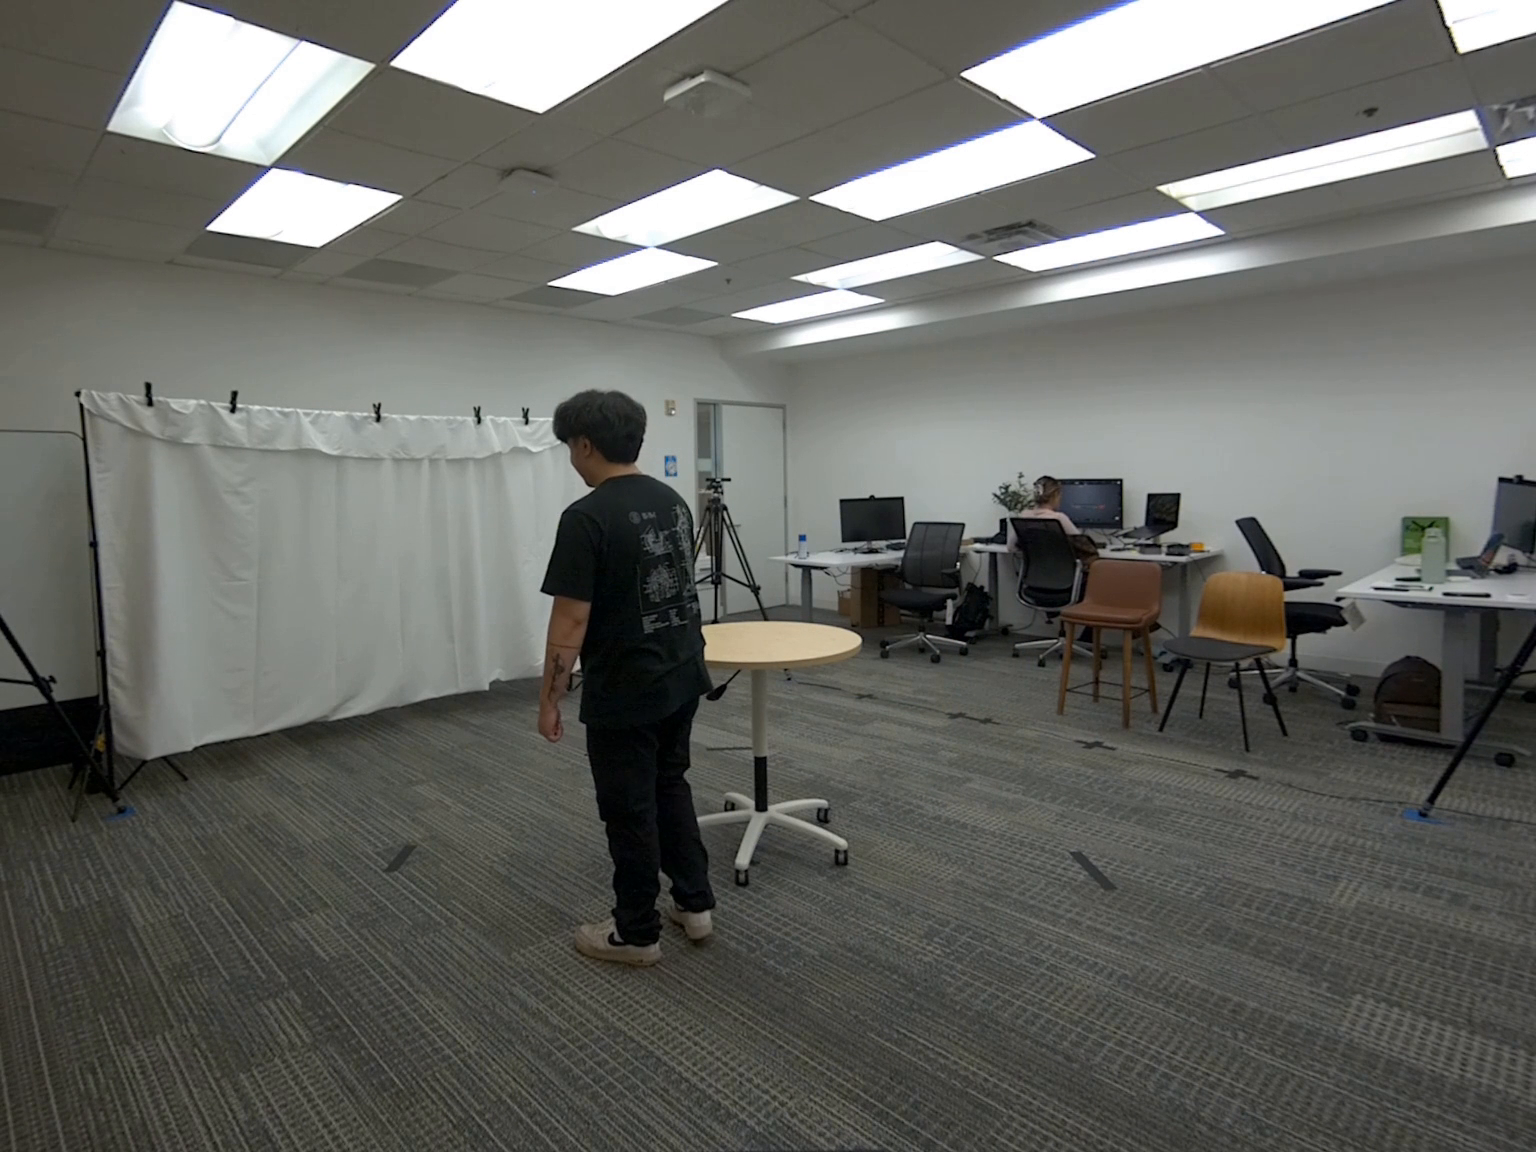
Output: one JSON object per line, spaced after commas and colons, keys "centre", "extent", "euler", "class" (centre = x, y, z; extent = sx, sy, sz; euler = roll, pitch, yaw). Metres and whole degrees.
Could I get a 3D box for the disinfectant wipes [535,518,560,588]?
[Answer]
{"centre": [-0.669, -0.071, 2.781], "extent": [0.117, 0.217, 0.118], "euler": [10, 3, -2], "class": "disinfectant wipes"}
